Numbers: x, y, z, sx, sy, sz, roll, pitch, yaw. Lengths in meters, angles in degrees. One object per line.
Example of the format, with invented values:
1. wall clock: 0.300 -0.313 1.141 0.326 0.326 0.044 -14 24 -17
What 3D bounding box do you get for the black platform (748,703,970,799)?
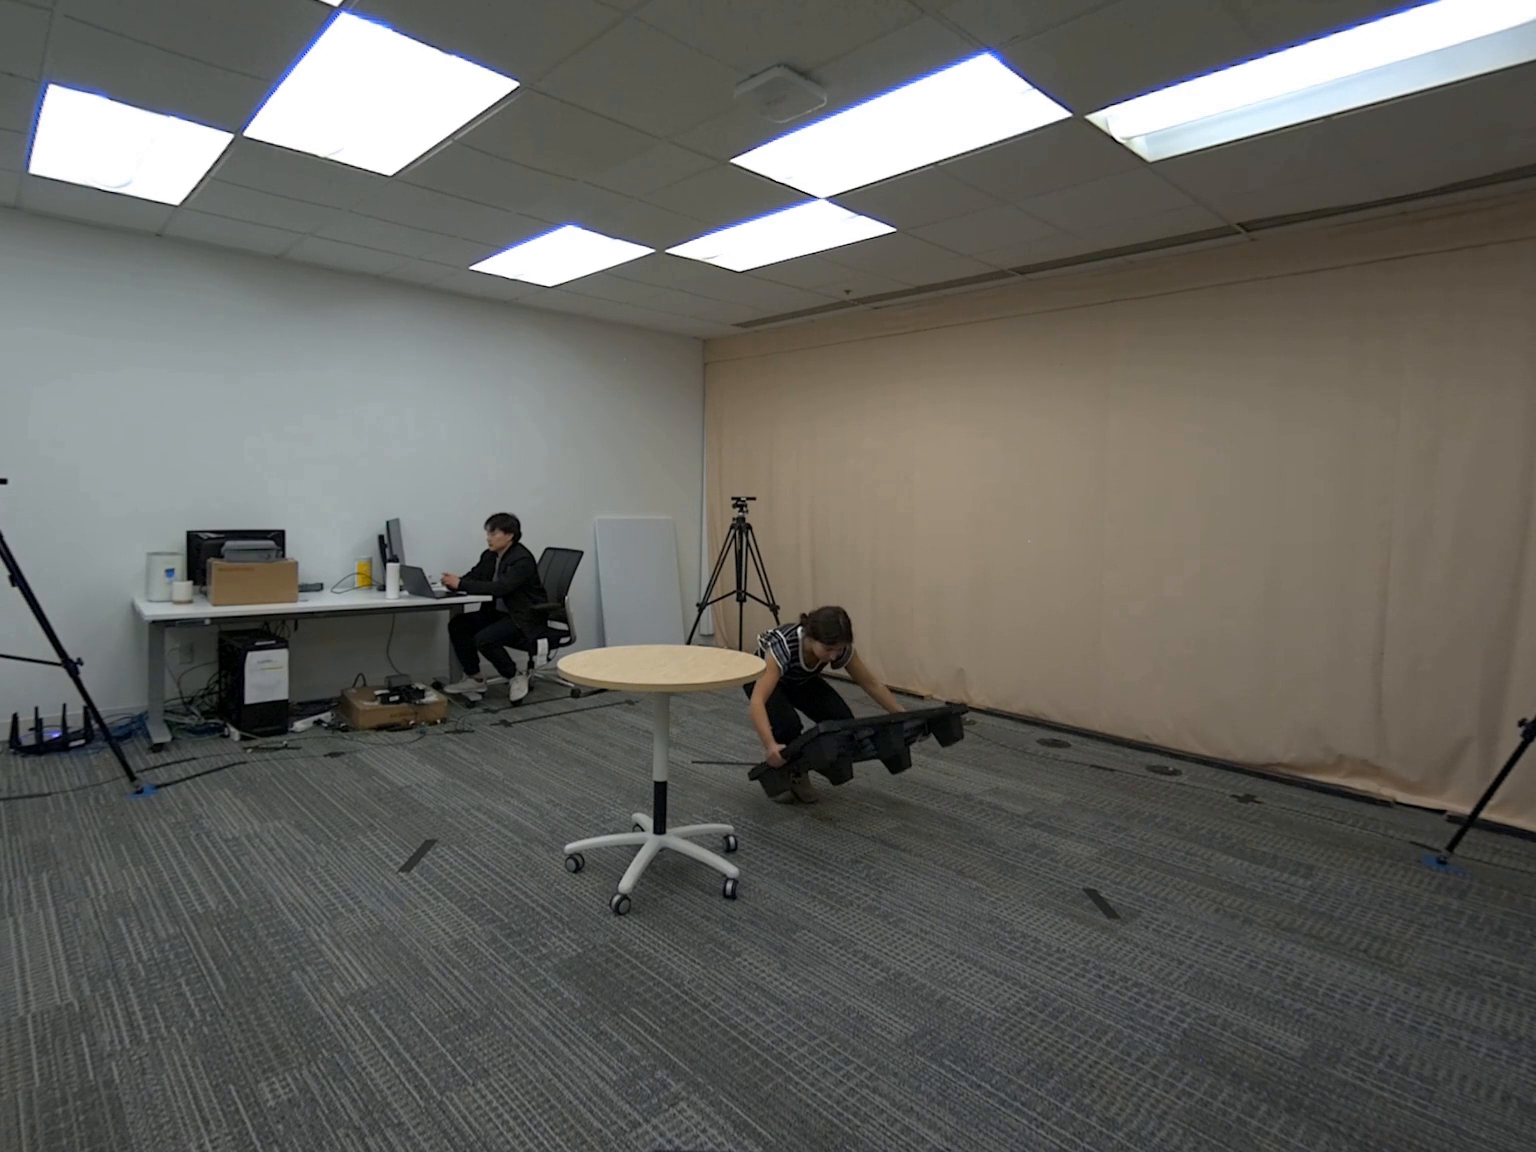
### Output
1. black platform: 0.393 0.747 3.559 0.789 0.146 0.604 -1 -28 -31
